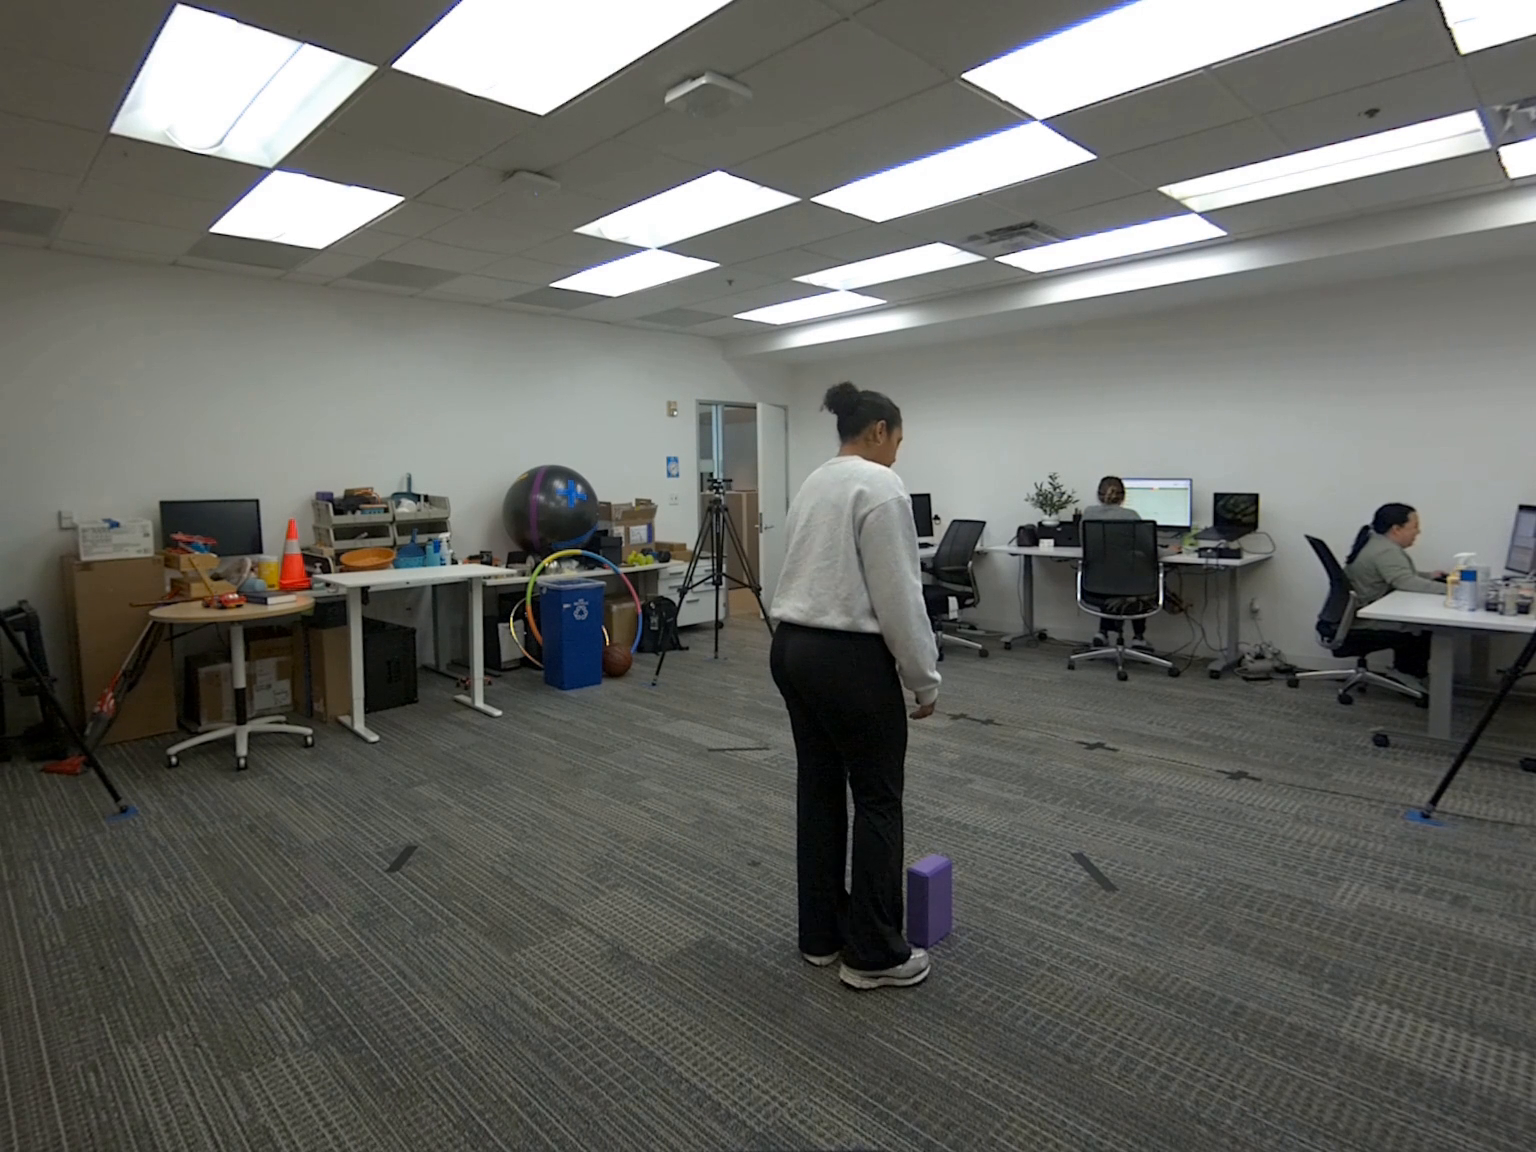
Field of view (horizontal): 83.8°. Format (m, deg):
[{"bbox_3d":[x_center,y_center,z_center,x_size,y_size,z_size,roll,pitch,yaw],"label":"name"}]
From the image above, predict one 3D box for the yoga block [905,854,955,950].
[{"bbox_3d":[0.493,0.978,2.581,0.079,0.229,0.145,1,4,44],"label":"yoga block"}]
